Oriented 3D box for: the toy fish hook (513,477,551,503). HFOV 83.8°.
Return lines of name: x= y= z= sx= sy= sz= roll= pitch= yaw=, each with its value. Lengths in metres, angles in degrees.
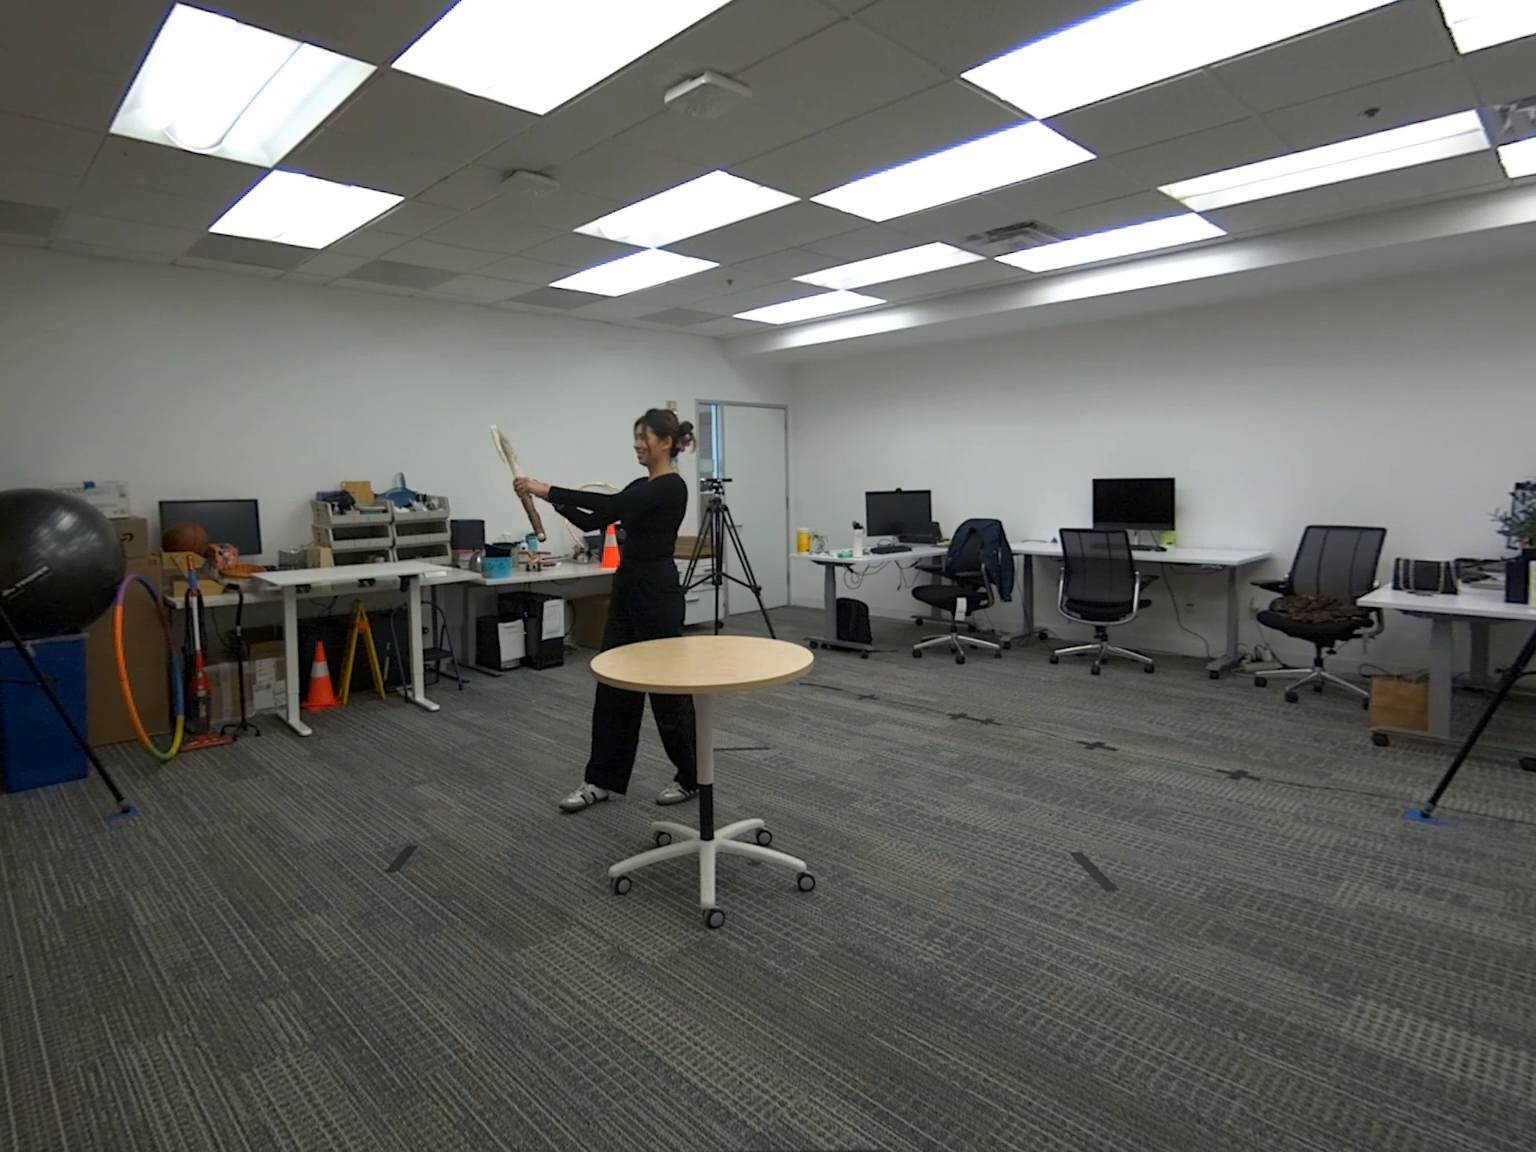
toy fish hook: x=-0.986 y=-0.370 z=3.355 sx=0.048 sy=0.519 sz=0.218 roll=-24 pitch=-20 yaw=5
